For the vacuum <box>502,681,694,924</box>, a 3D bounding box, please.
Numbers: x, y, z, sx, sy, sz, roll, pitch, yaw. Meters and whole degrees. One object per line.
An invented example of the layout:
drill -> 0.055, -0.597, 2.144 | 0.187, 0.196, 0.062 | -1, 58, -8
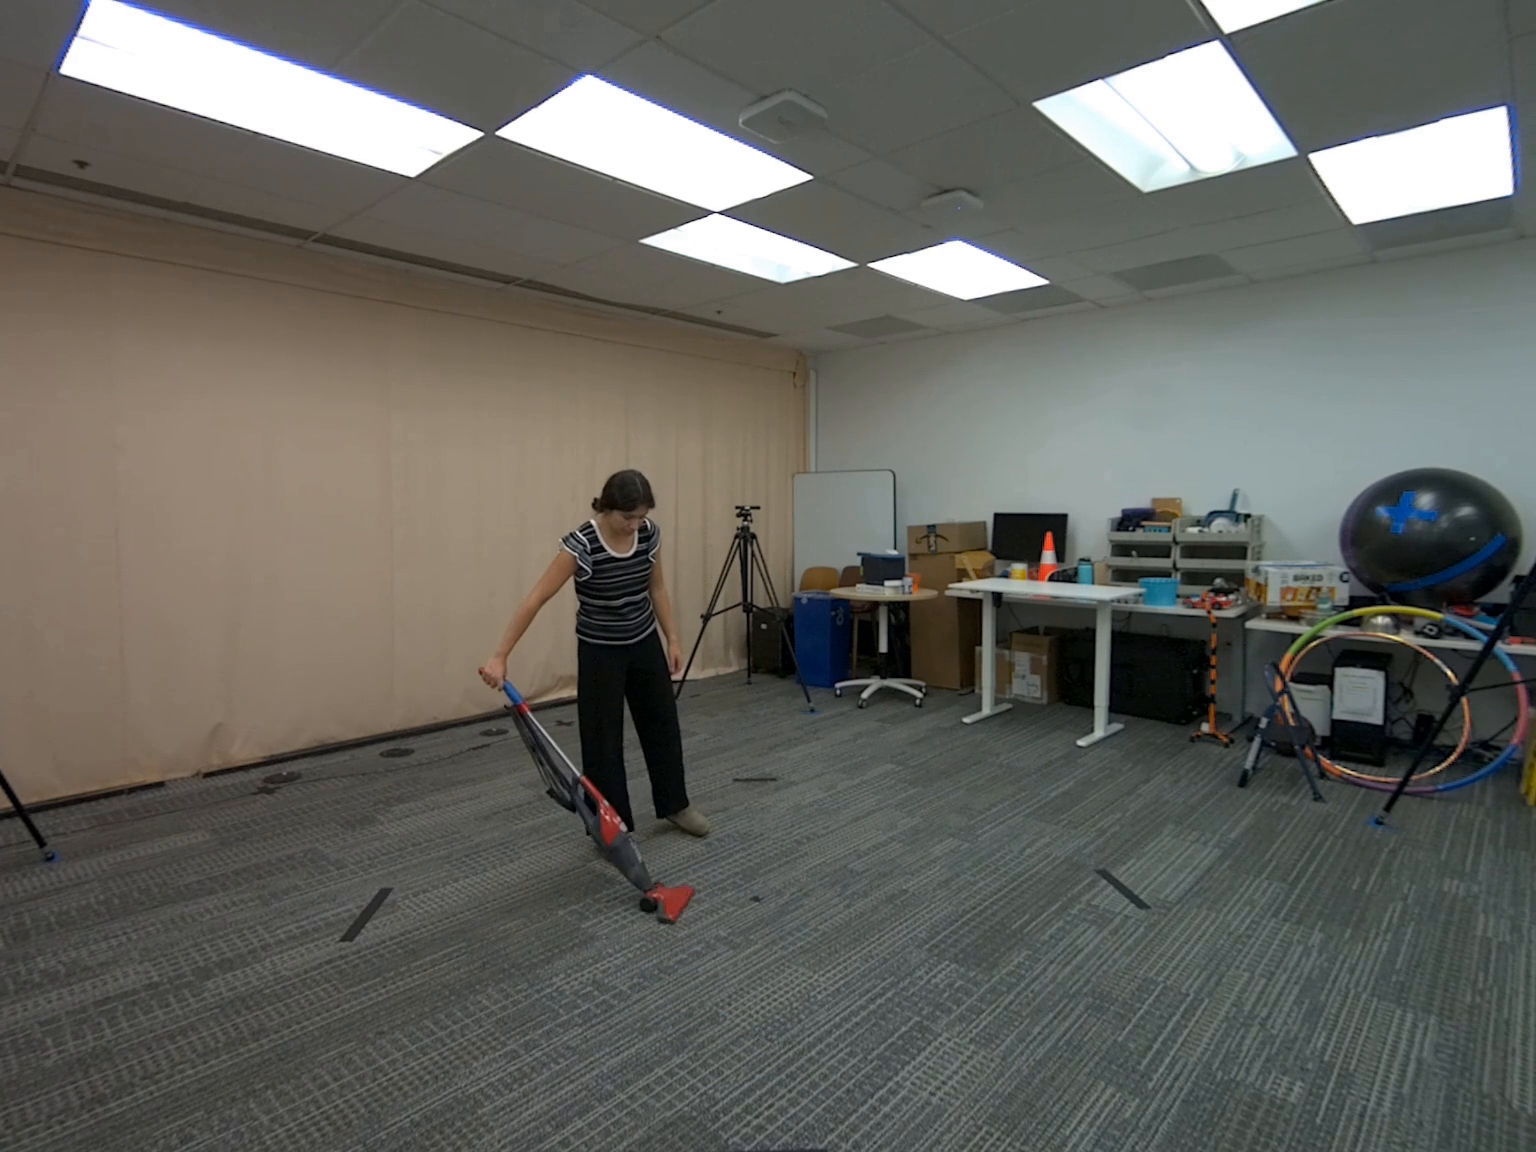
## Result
vacuum -> -0.681, 0.743, 3.022 | 0.144, 1.061, 0.248 | -43, -10, 12
